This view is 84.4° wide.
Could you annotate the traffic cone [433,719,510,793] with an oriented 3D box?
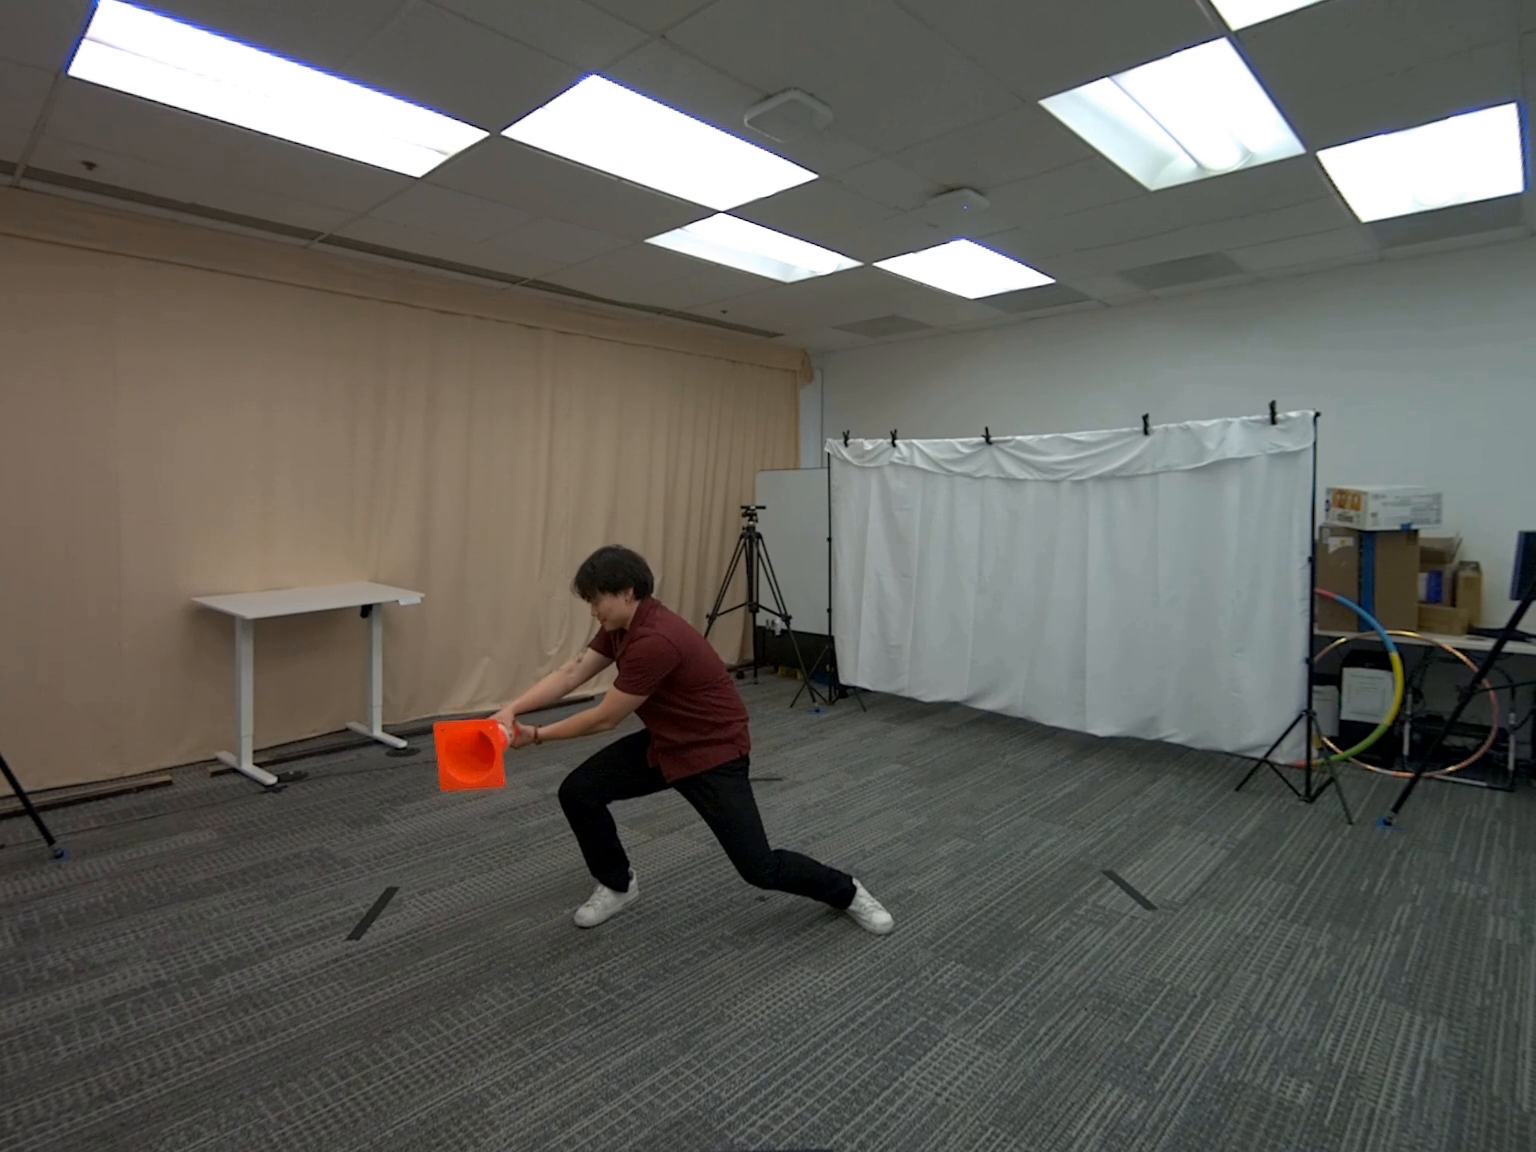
[{"bbox_3d":[-0.836,0.508,2.598,0.206,0.203,0.381,-4,0,6],"label":"traffic cone"}]
